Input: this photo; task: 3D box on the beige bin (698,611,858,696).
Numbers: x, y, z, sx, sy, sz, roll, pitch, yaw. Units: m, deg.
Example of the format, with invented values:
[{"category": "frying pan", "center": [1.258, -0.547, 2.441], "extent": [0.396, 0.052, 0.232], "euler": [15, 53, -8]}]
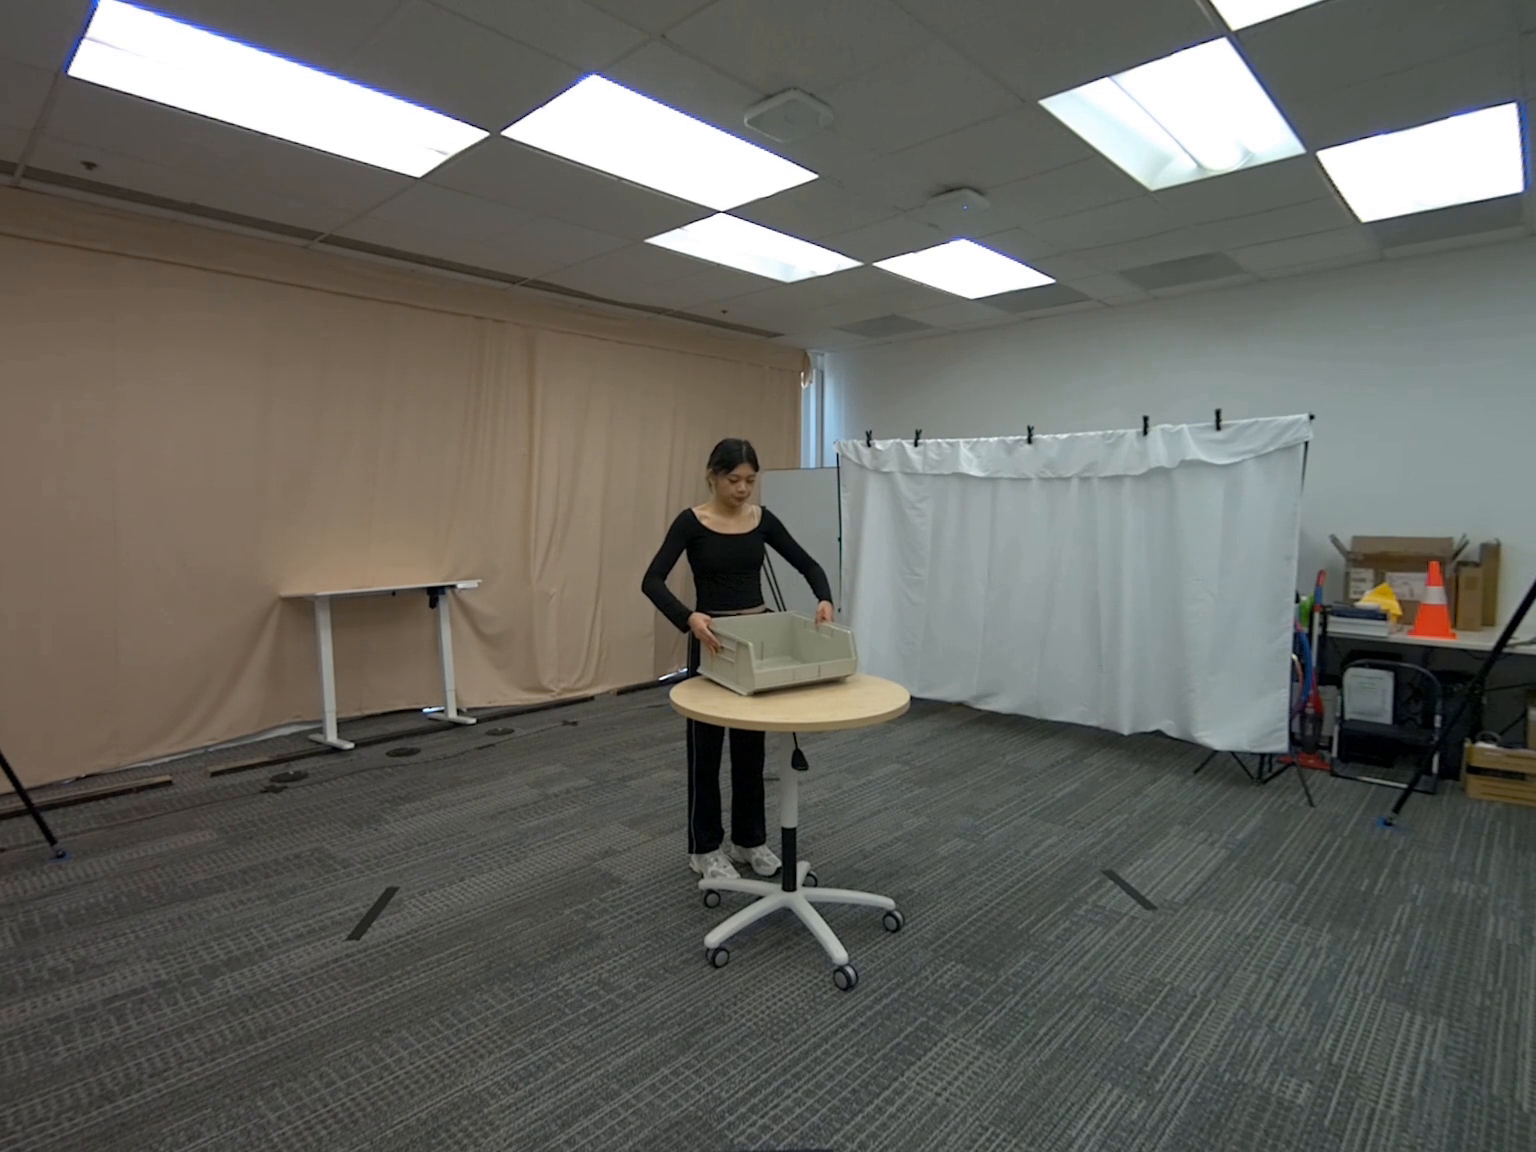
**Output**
[{"category": "beige bin", "center": [0.031, 0.253, 2.852], "extent": [0.411, 0.188, 0.389], "euler": [-5, 9, -33]}]
